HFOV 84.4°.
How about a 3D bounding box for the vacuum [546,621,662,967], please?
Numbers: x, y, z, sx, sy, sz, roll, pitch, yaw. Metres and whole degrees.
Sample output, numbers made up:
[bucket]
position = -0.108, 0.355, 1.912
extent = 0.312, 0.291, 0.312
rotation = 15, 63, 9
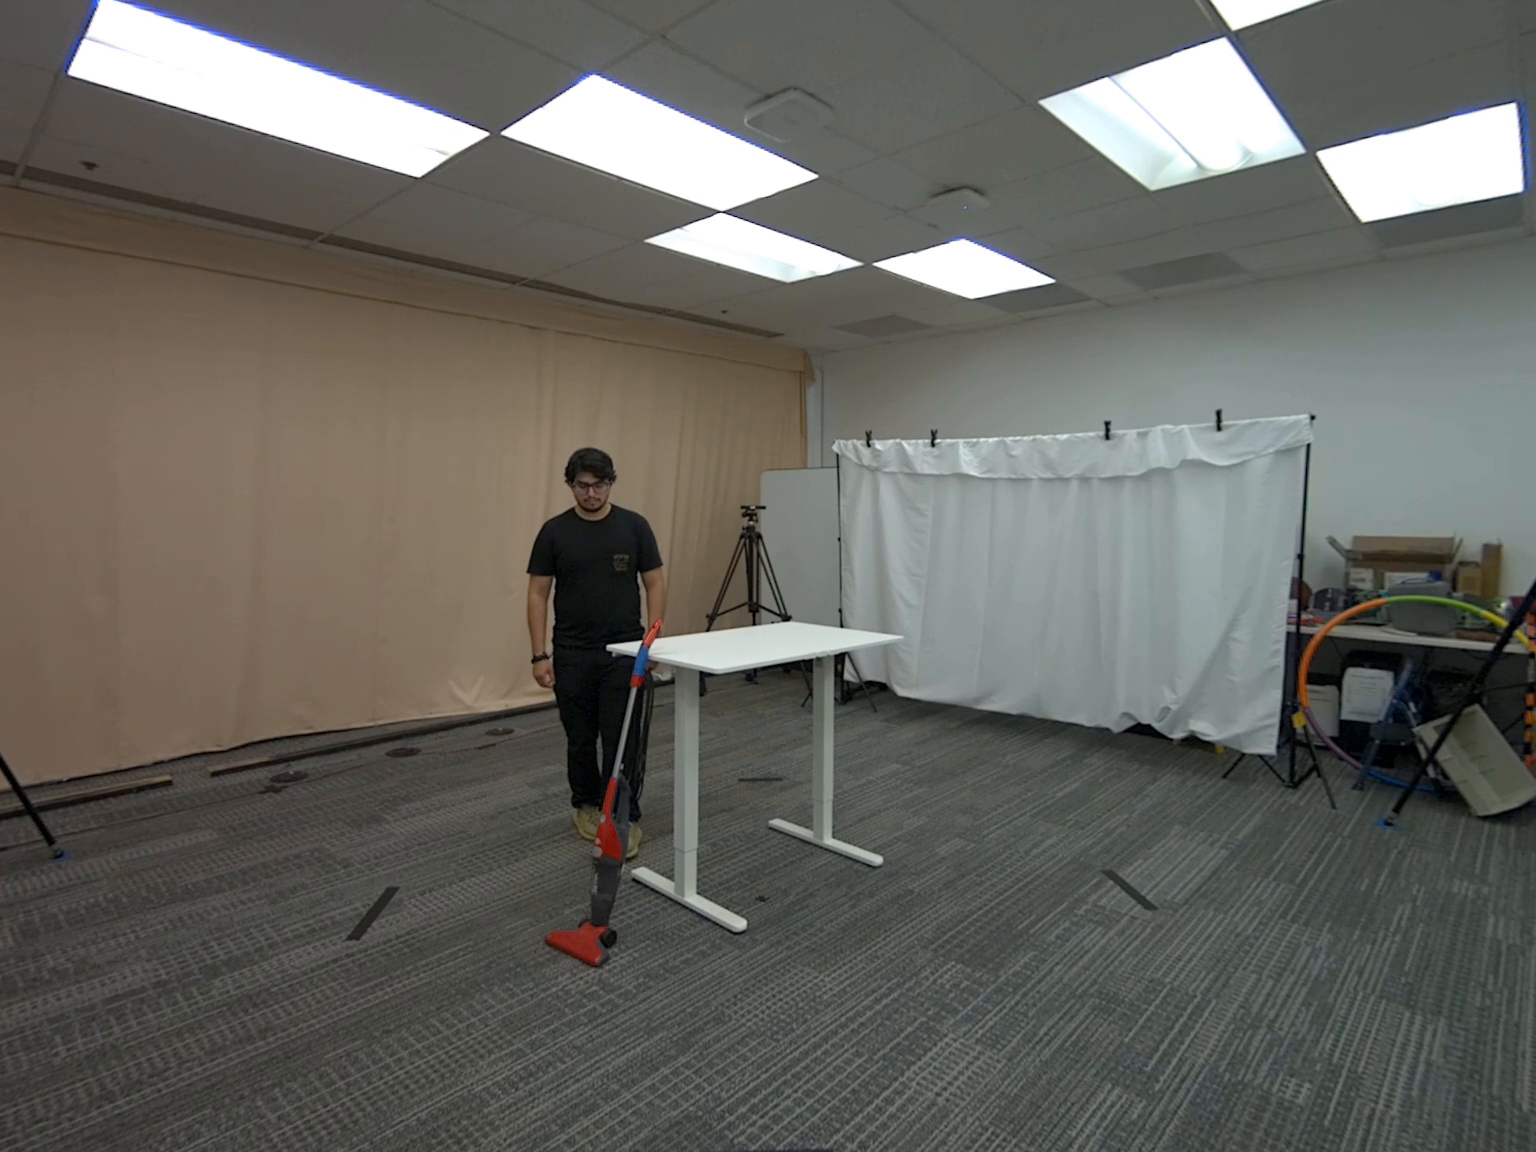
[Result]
[vacuum]
position = -0.478, 0.668, 2.786
extent = 0.260, 1.055, 0.139
rotation = 2, -16, 32
